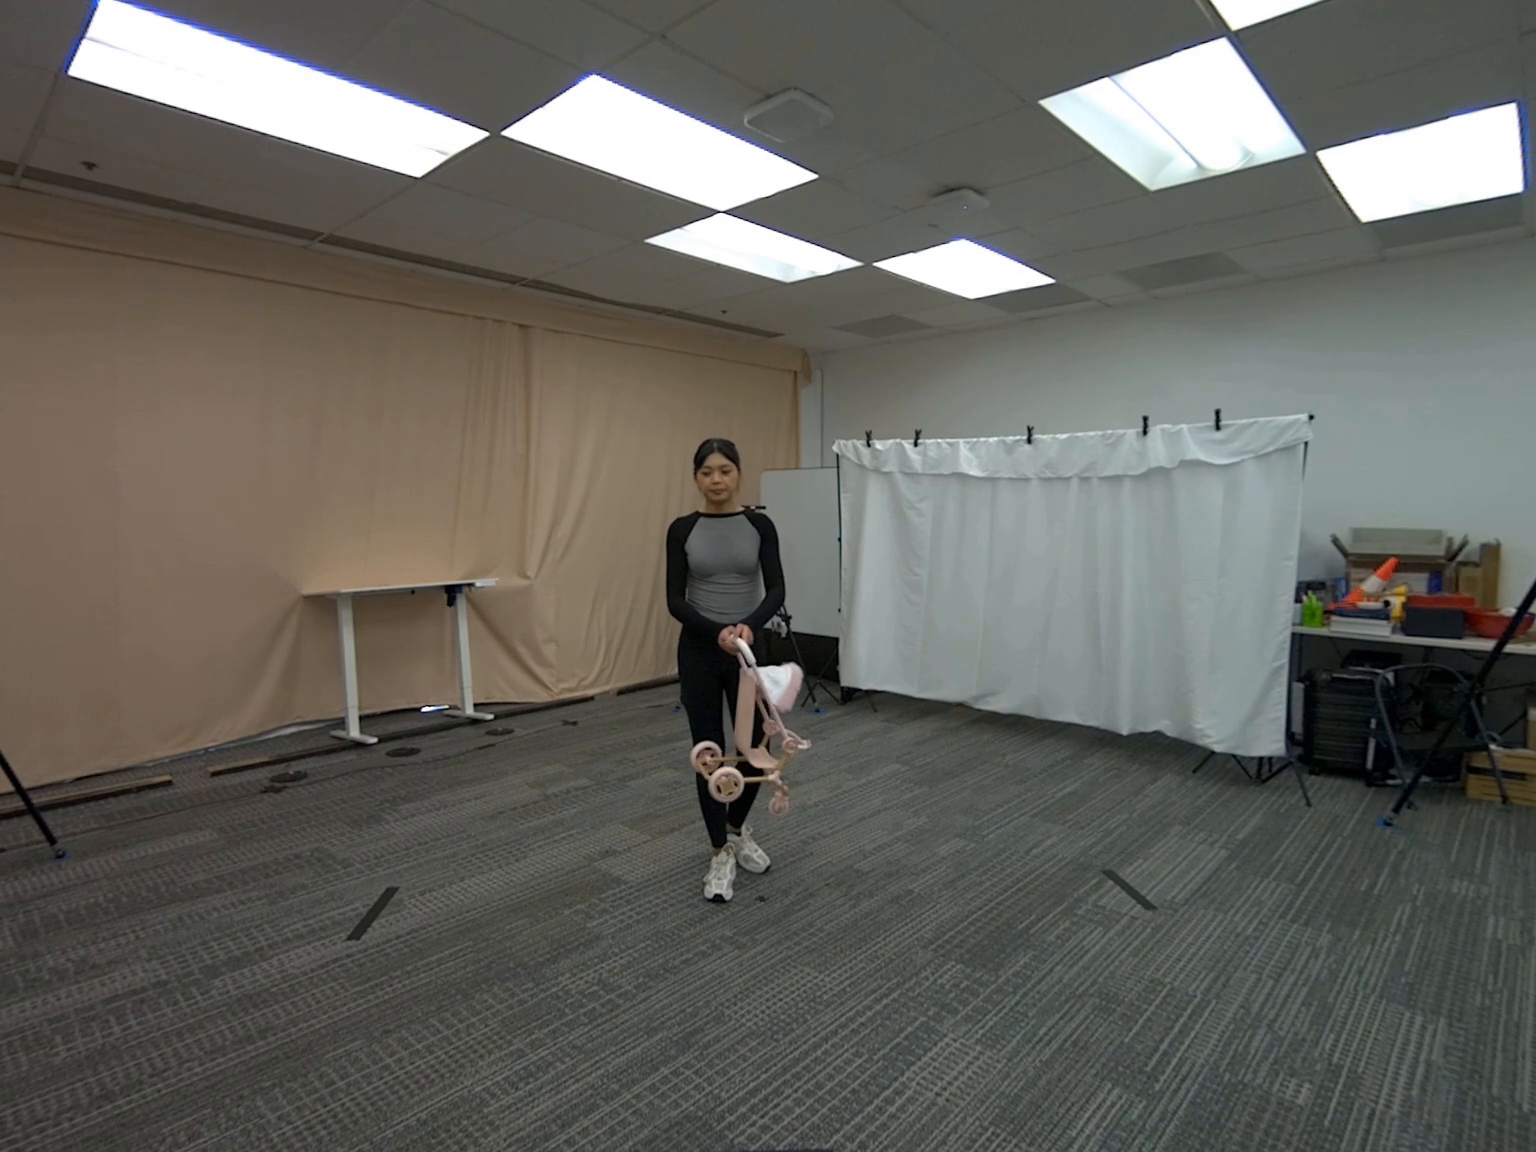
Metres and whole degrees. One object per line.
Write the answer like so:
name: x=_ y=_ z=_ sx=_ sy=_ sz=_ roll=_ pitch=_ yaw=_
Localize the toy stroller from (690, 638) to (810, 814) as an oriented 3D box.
toy stroller: x=-0.011 y=0.497 z=2.718 sx=0.336 sy=0.535 sz=0.286 roll=15 pitch=1 yaw=-14
